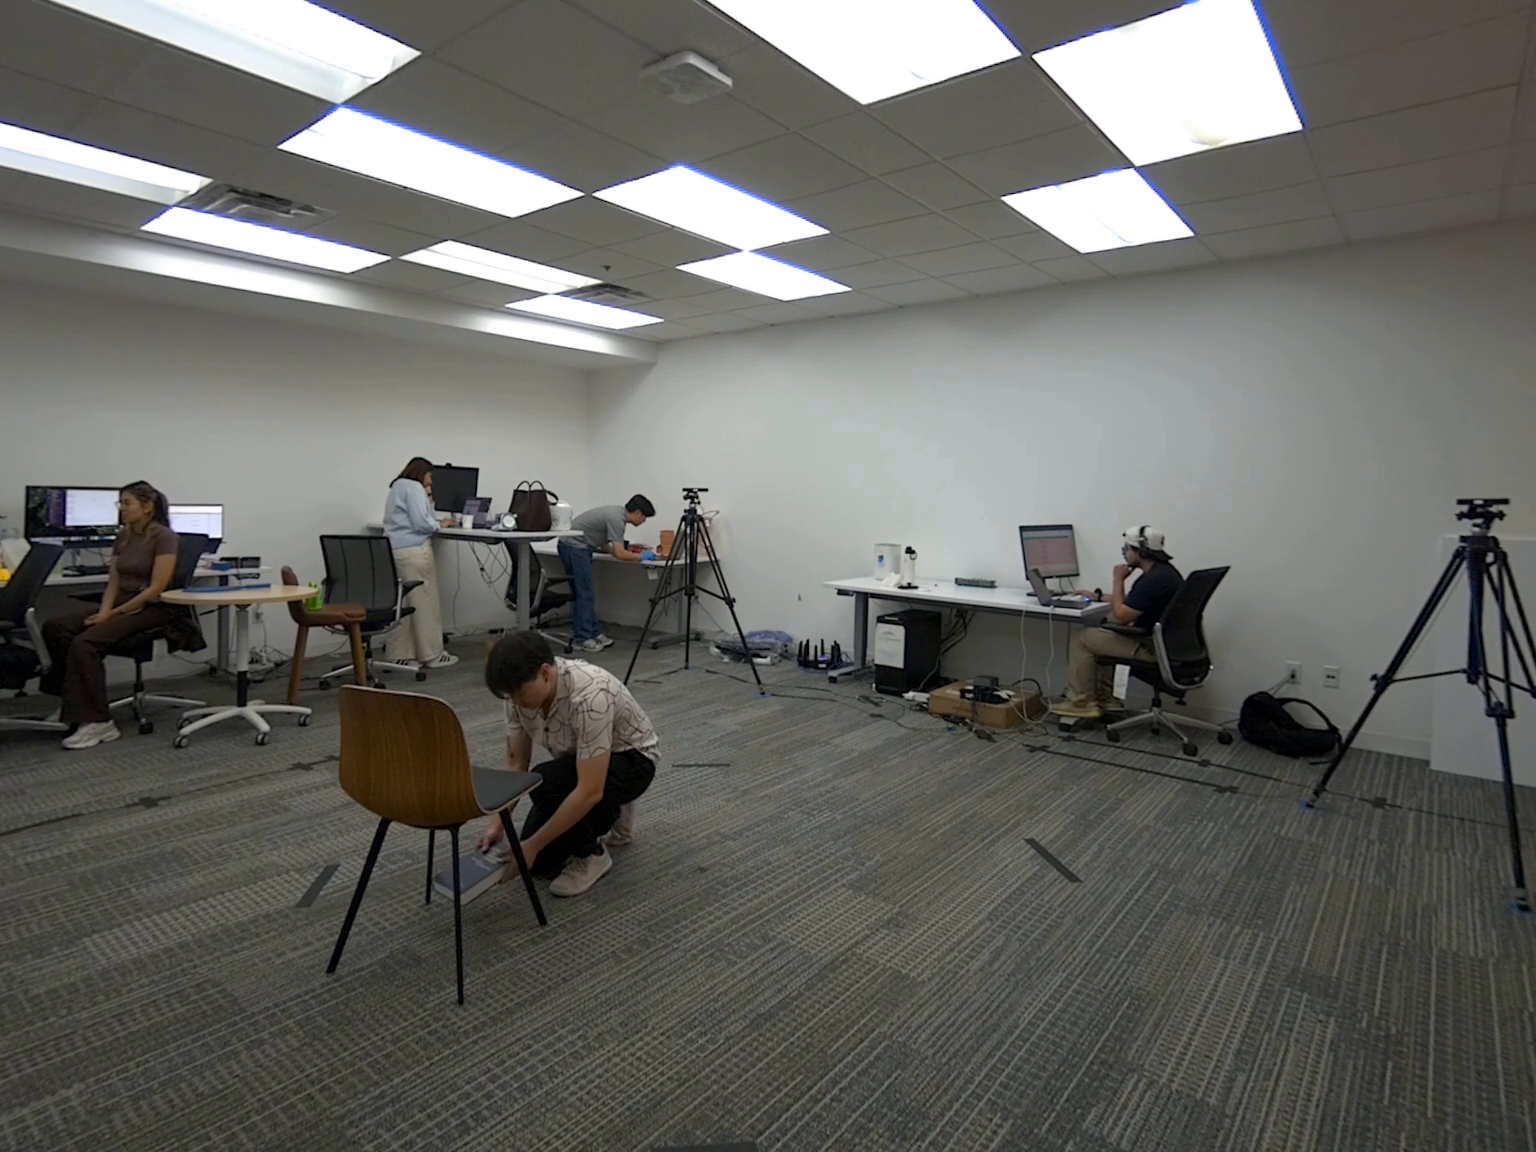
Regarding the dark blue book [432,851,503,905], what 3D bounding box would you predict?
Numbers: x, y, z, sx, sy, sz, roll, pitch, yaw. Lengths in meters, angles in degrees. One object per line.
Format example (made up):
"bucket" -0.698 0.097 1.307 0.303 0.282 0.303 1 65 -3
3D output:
"dark blue book" -0.953 0.955 2.732 0.169 0.044 0.240 3 15 38
